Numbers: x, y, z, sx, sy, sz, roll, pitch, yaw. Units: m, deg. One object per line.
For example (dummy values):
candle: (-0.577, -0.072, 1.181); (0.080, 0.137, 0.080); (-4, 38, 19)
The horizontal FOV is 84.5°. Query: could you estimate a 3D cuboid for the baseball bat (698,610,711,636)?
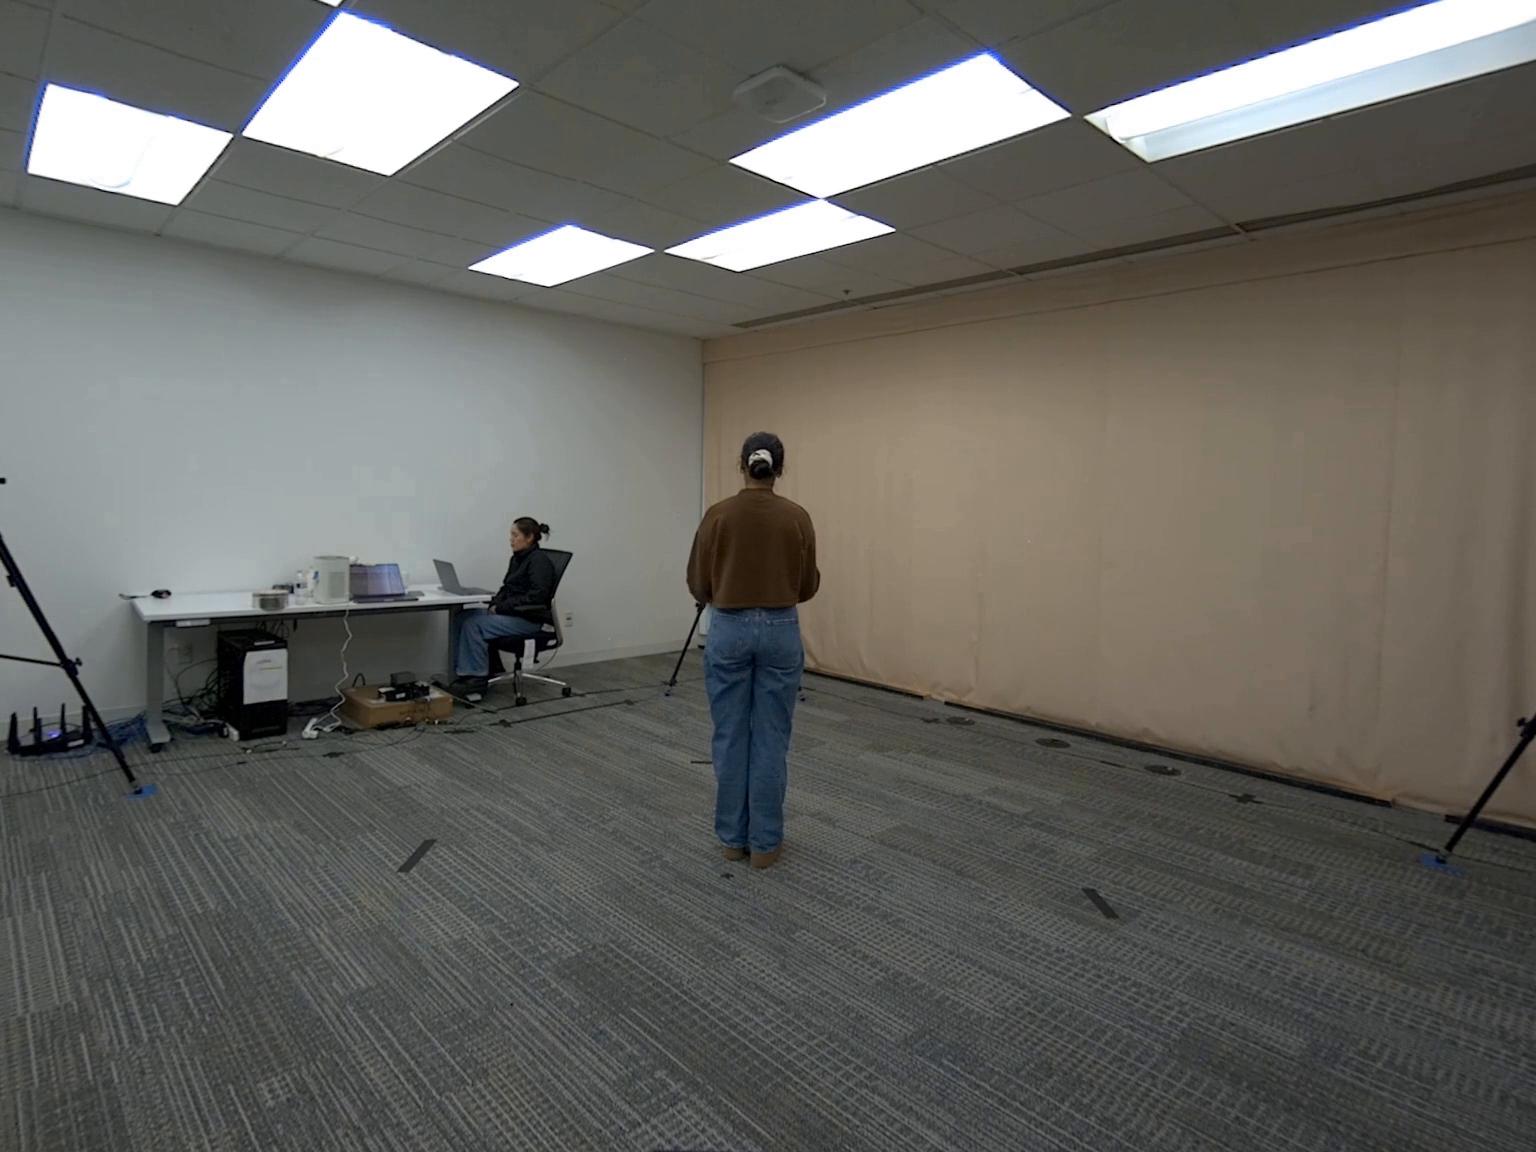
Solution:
baseball bat: (-0.234, 0.005, 3.665); (0.089, 0.552, 0.087); (-1, -25, -2)
